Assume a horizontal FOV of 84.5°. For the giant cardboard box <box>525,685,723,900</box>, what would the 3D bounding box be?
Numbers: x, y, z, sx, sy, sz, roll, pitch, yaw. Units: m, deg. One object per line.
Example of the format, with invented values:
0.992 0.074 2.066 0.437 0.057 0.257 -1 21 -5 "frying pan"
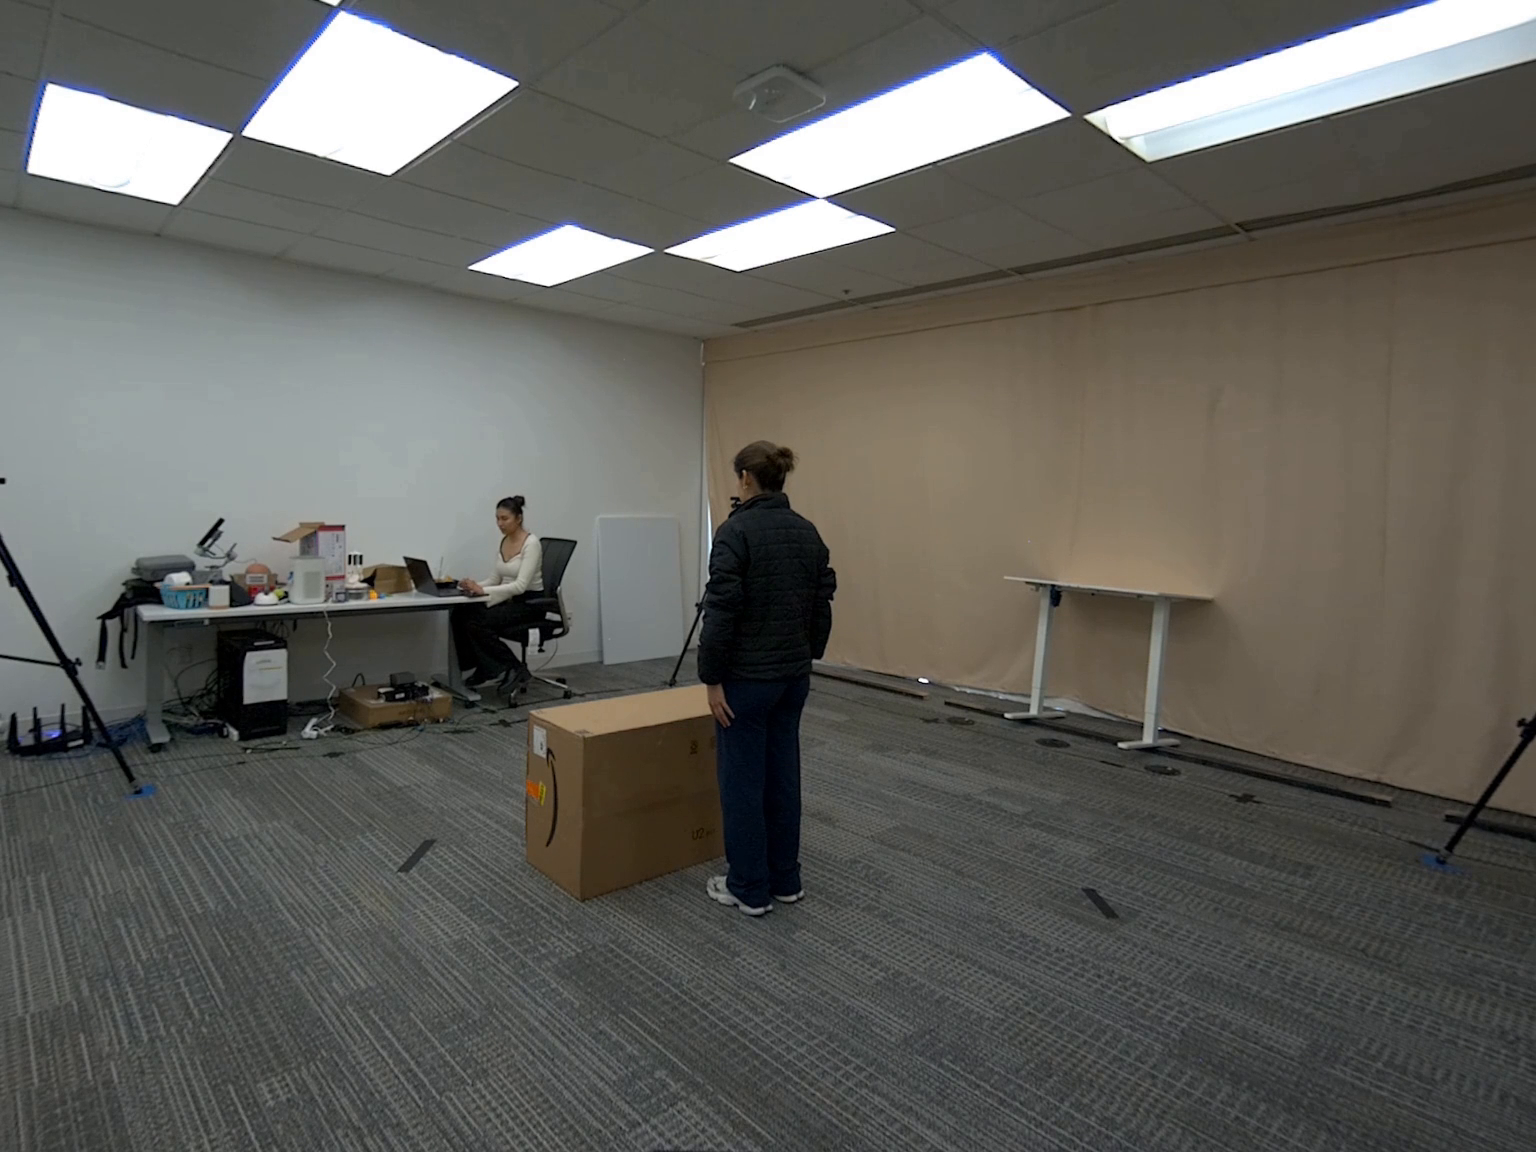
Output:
-0.404 0.796 3.337 1.004 0.582 0.458 -2 6 -40 "giant cardboard box"
